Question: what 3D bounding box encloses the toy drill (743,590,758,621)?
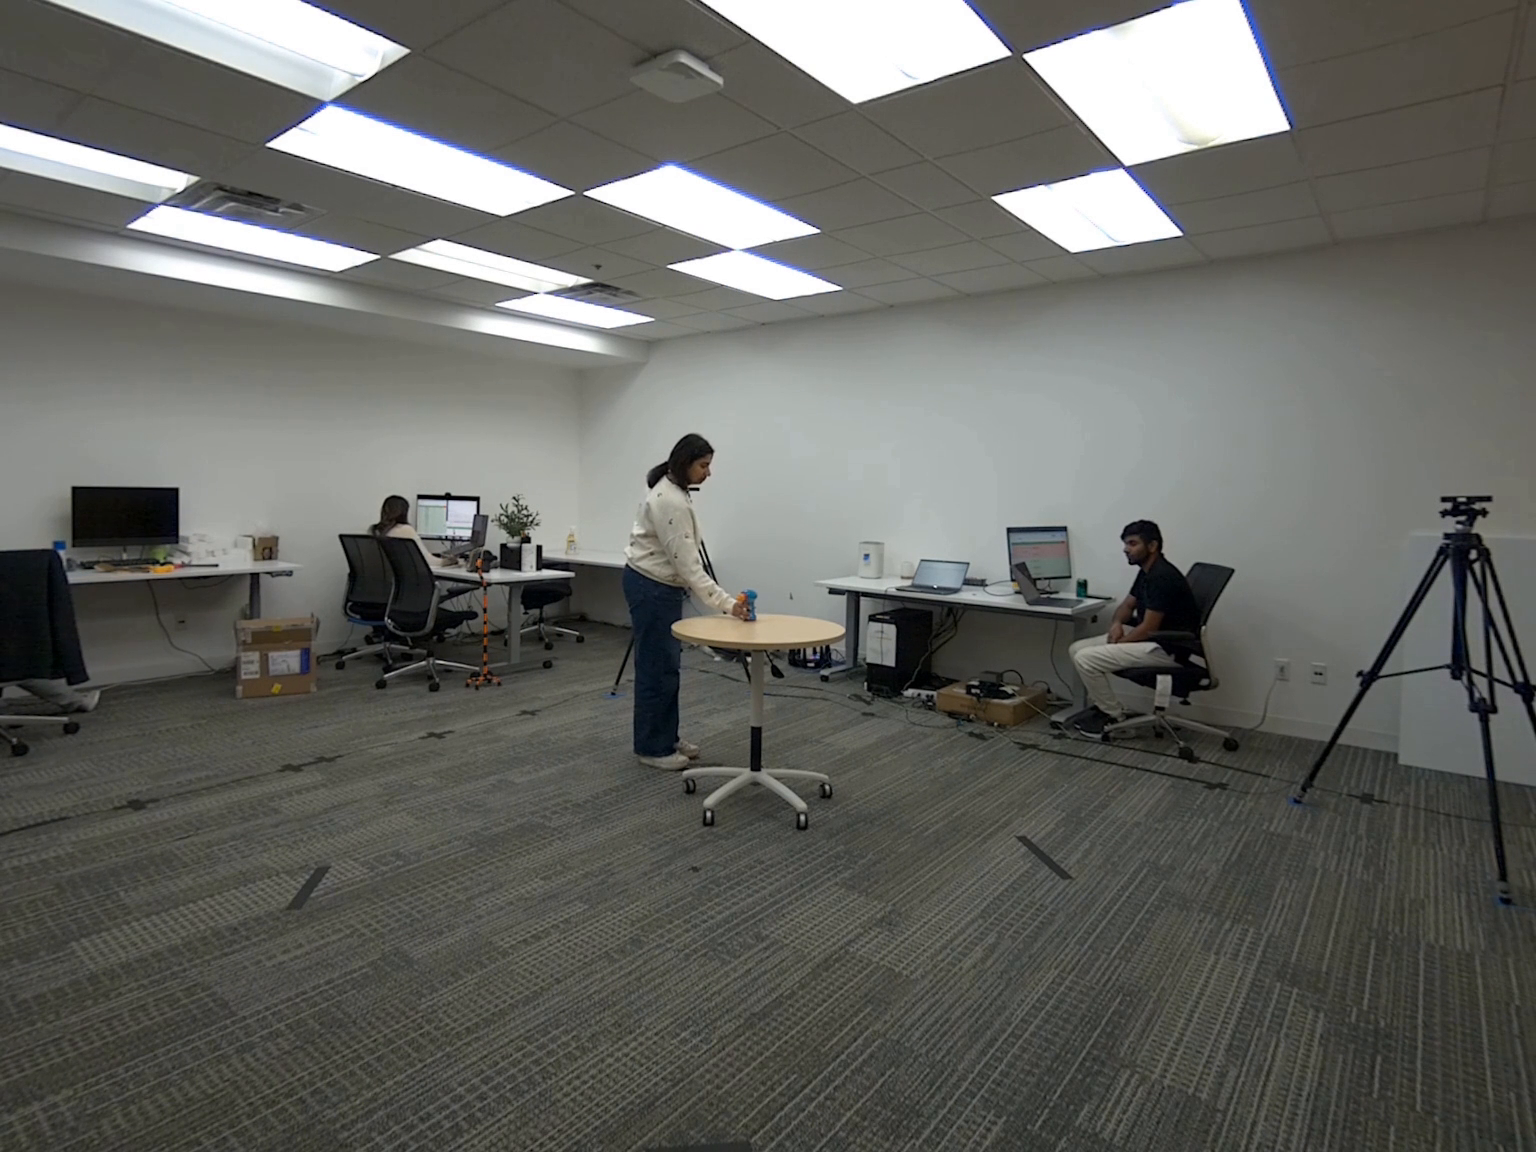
[{"bbox_3d":[-0.098,0.132,3.913,0.062,0.146,0.167,3,3,13],"label":"toy drill"}]
